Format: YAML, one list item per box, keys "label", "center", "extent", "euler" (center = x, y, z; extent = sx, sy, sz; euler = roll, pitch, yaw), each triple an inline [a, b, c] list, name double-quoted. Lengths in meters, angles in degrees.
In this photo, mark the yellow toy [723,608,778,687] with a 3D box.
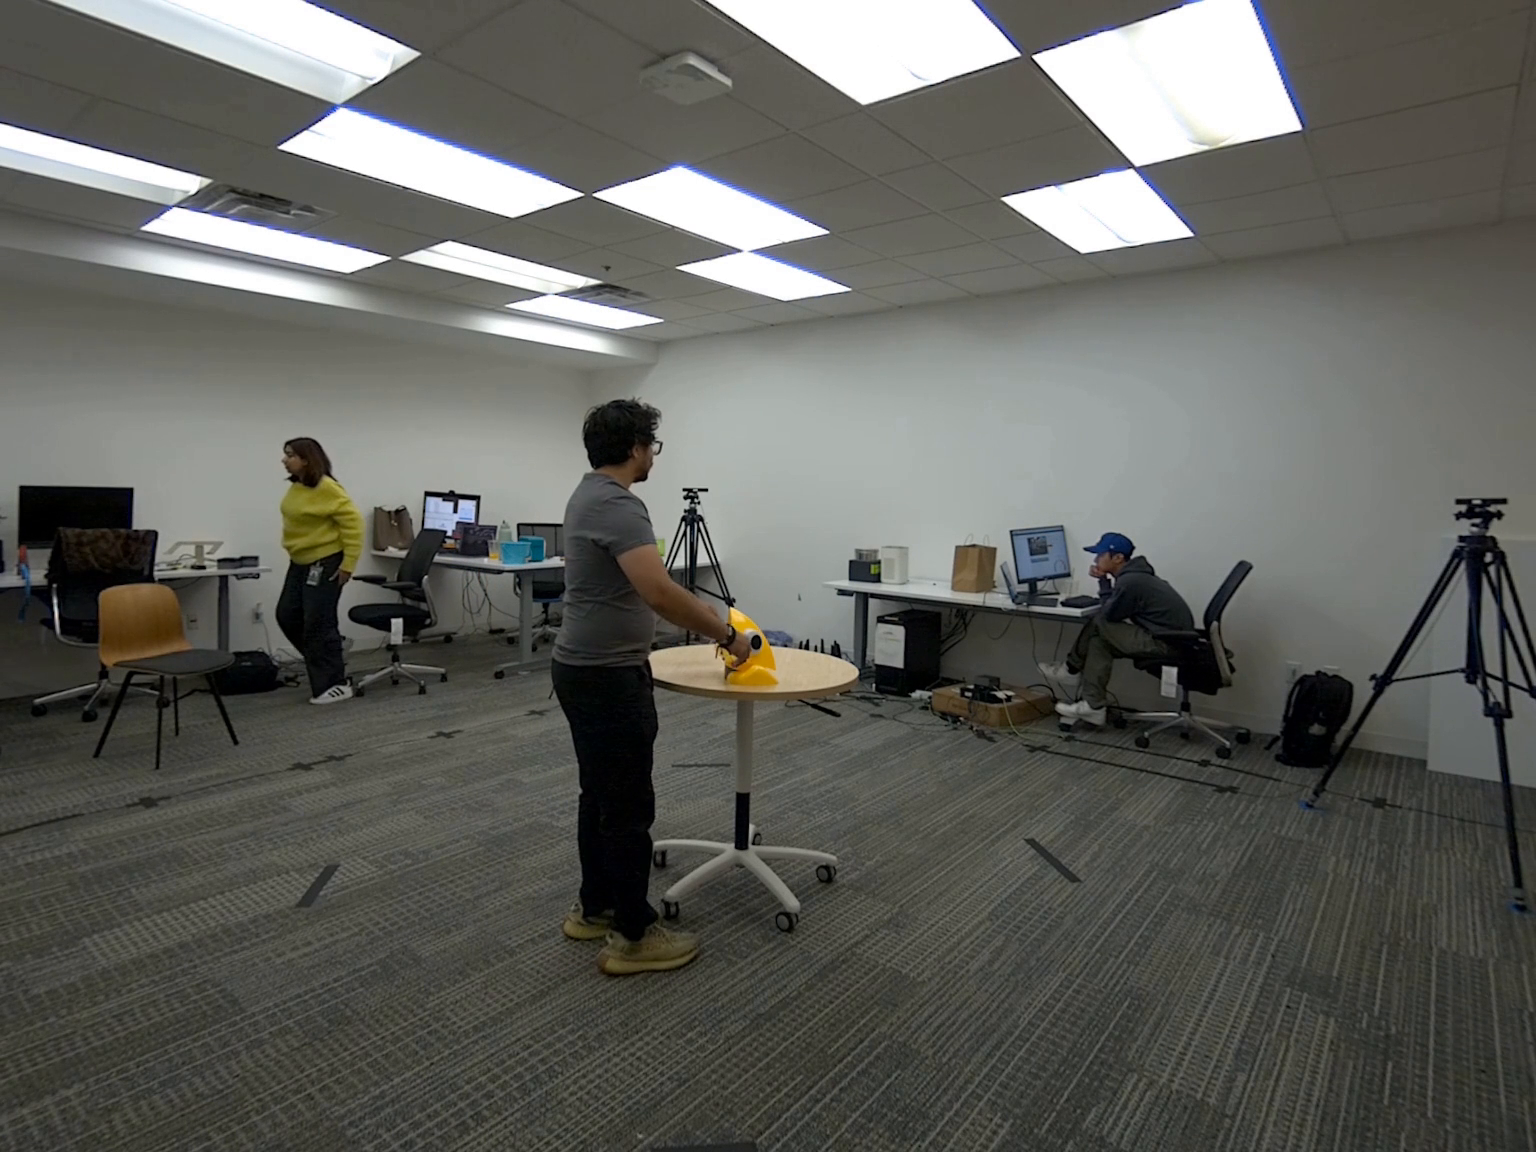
- label: "yellow toy"
  center: [-0.073, 0.212, 2.736]
  extent: [0.191, 0.230, 0.208]
  euler: [0, 4, -12]
